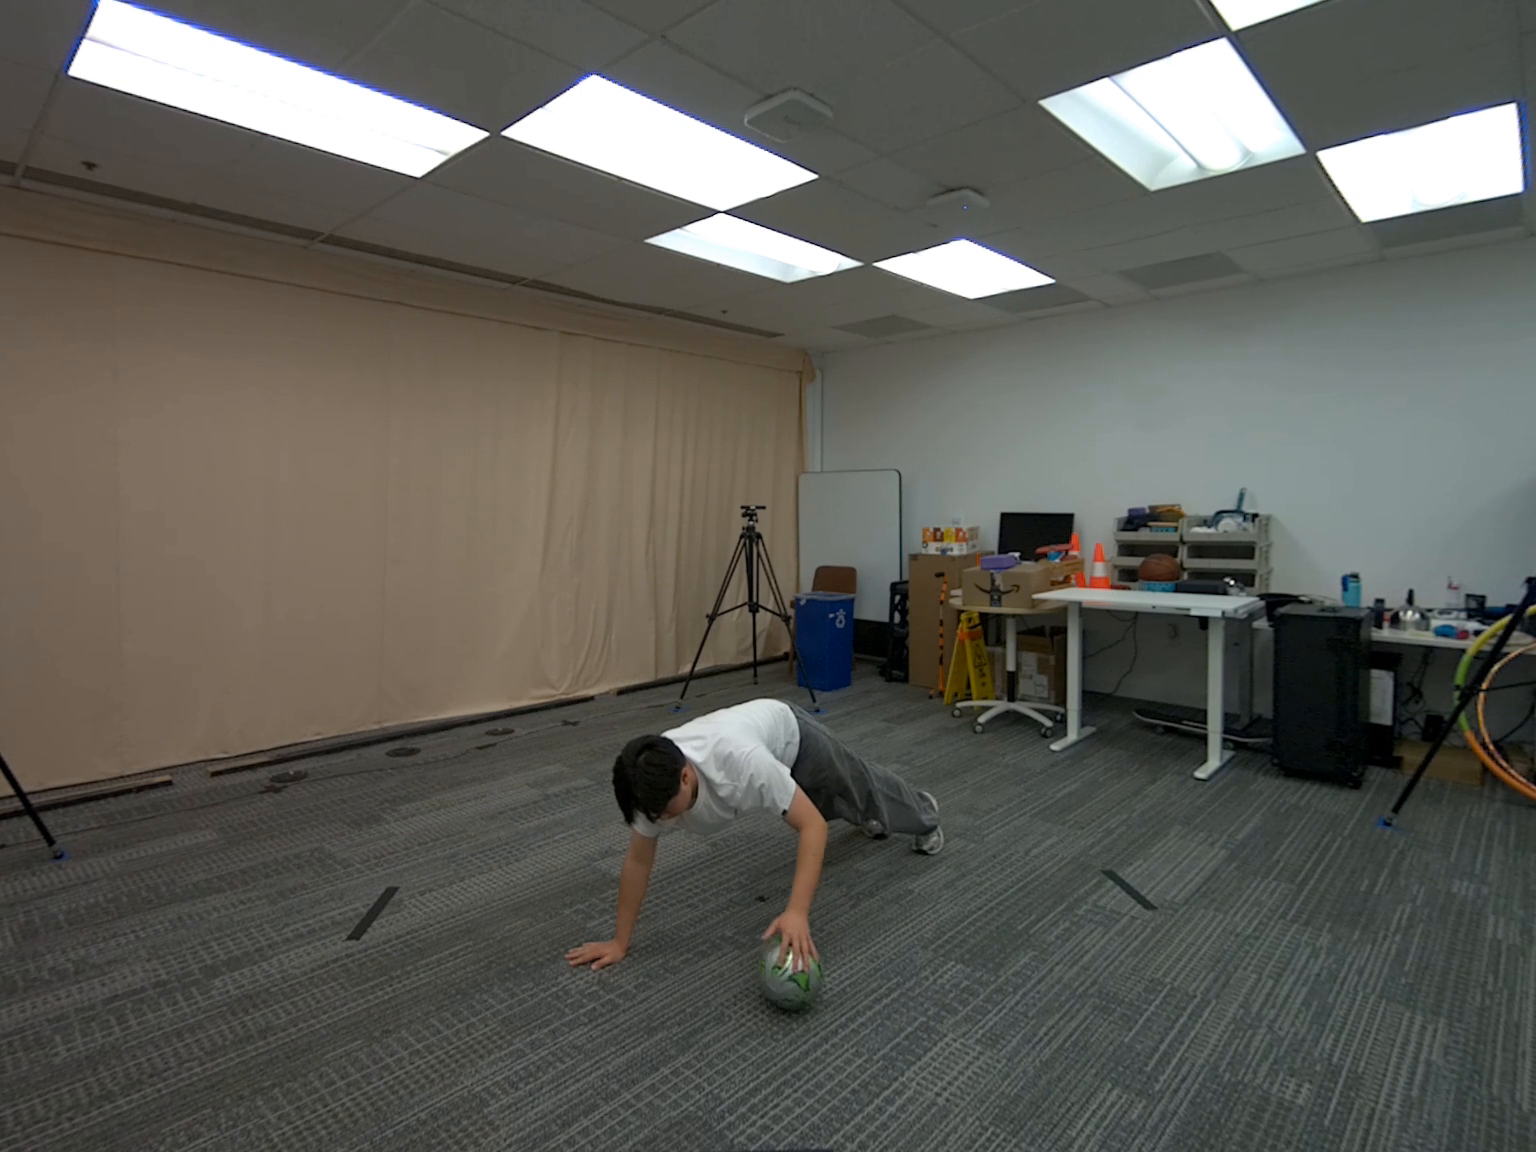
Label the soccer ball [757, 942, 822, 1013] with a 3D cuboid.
[{"bbox_3d":[0.054,1.095,2.355,0.187,0.187,0.188,0,4,-2],"label":"soccer ball"}]
